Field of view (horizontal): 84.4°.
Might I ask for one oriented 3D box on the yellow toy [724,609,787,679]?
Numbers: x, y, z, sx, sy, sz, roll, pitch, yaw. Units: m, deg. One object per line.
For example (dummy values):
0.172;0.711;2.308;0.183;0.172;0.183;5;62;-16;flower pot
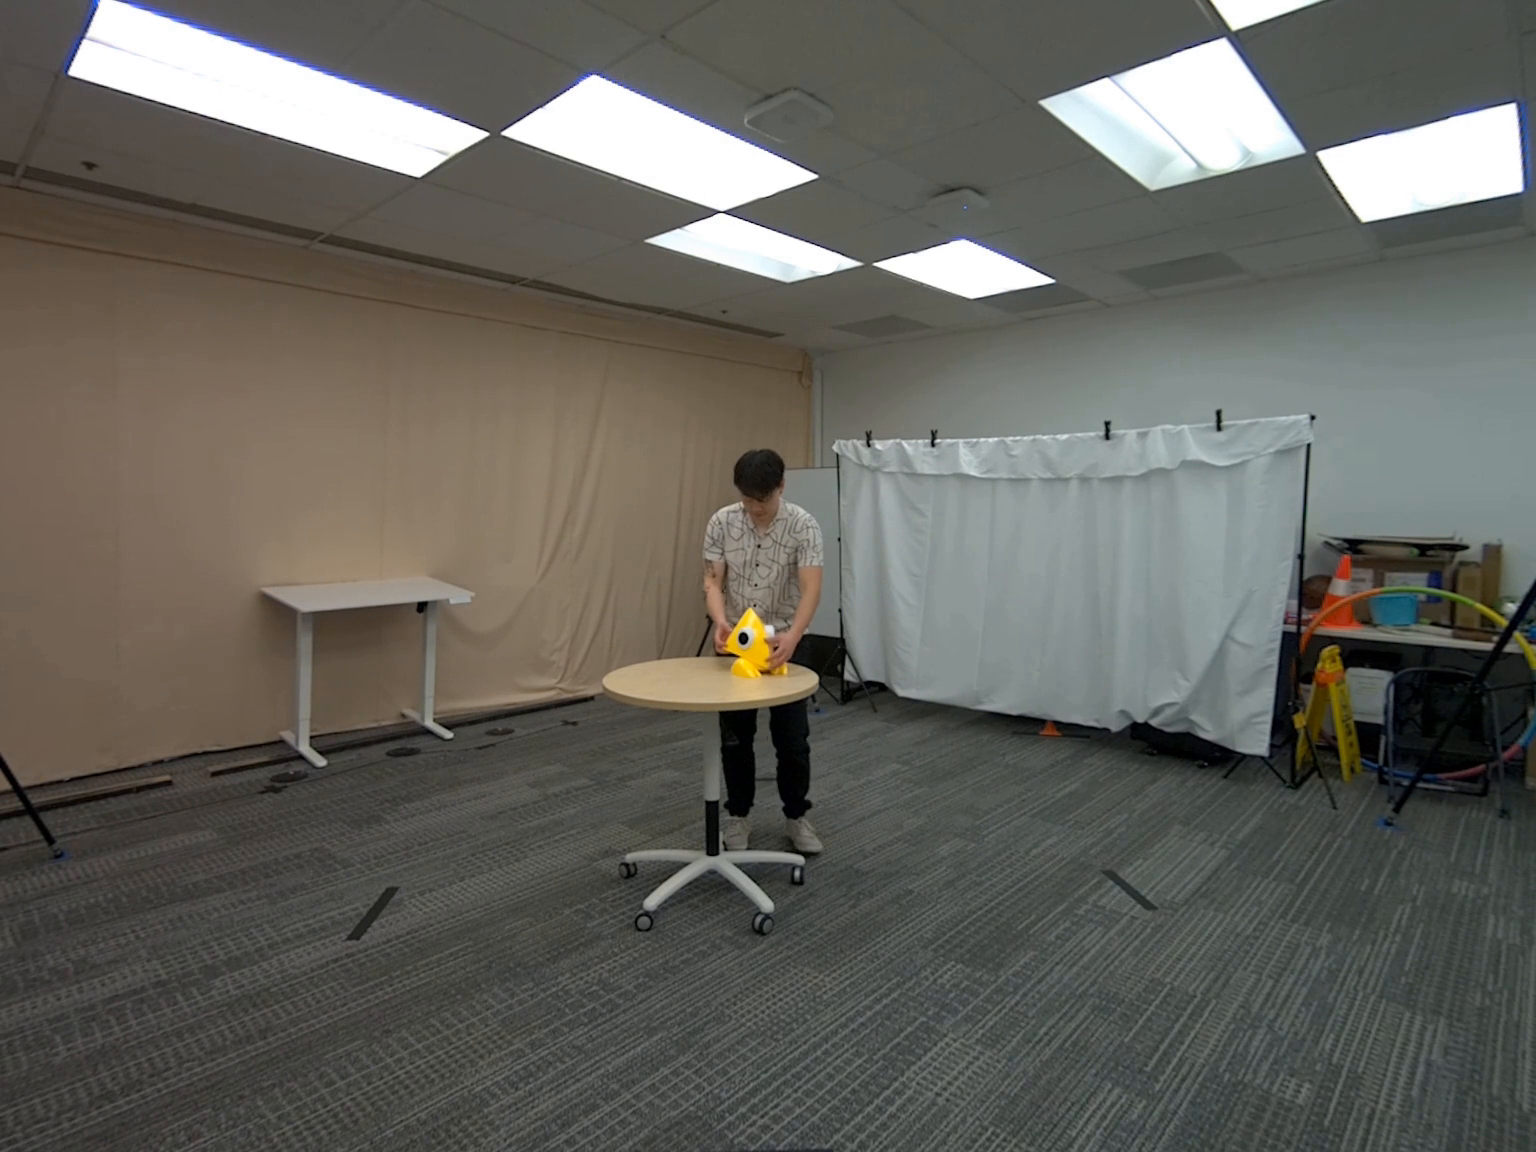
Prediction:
-0.038;0.237;3.077;0.199;0.230;0.198;1;5;-27;yellow toy
